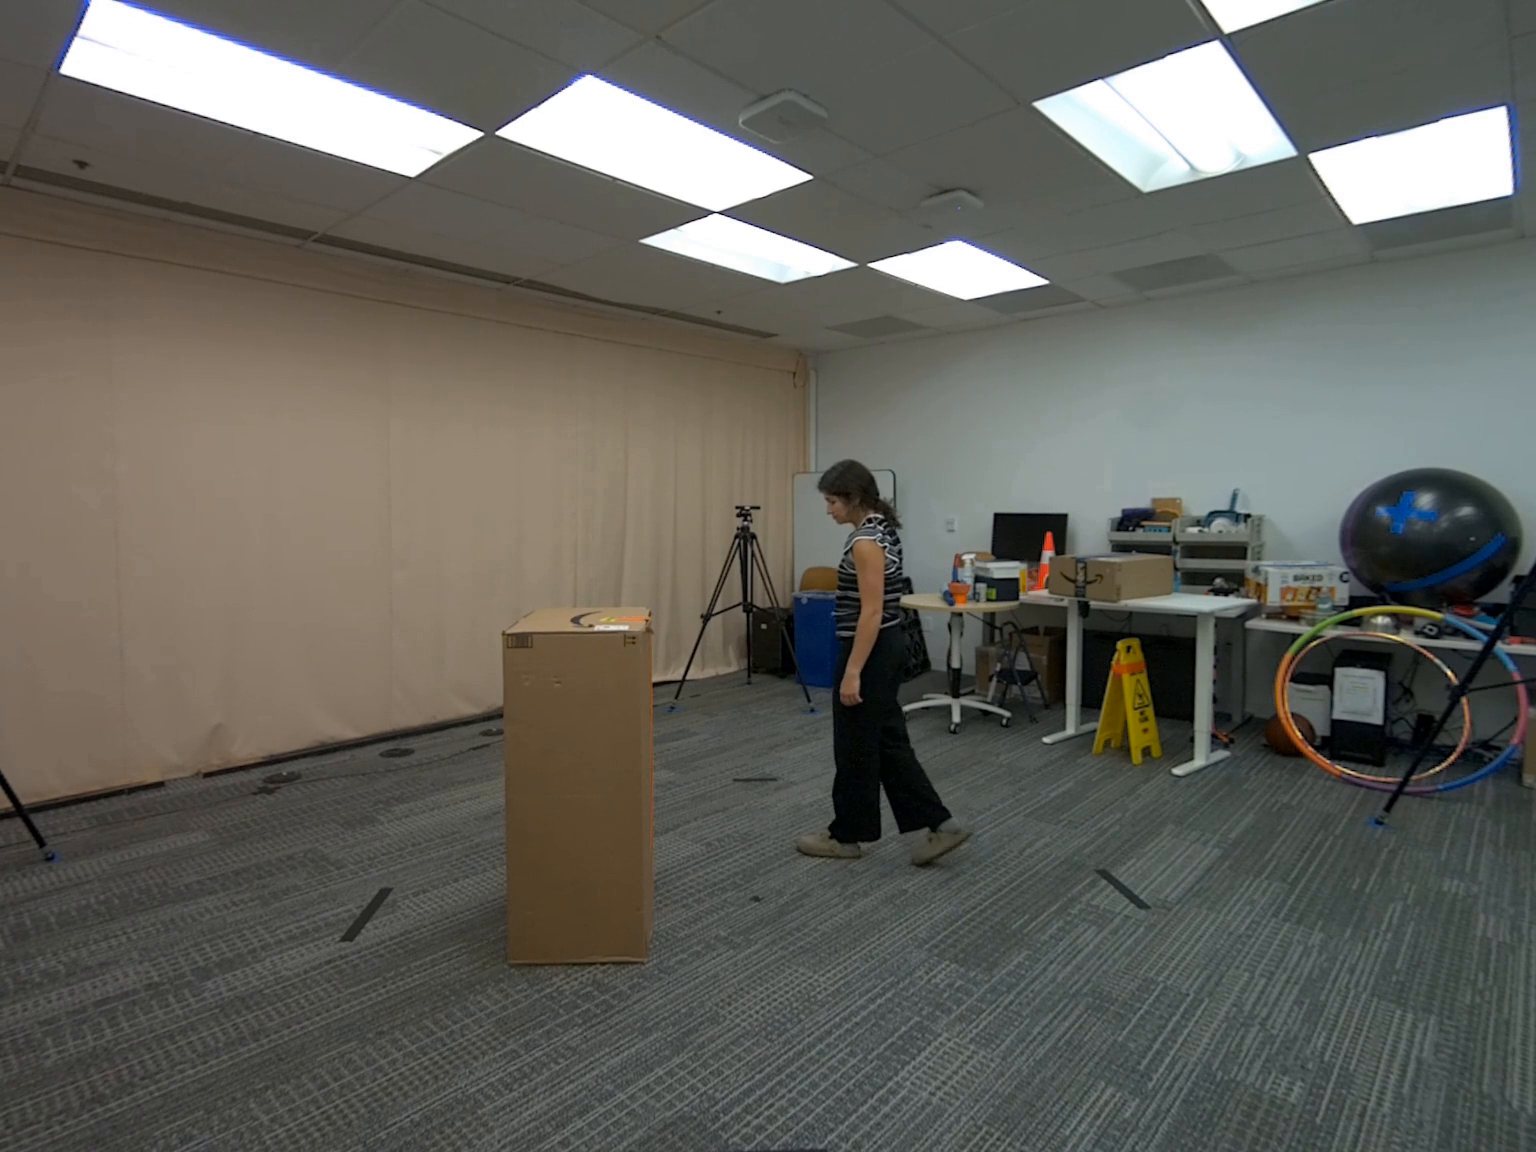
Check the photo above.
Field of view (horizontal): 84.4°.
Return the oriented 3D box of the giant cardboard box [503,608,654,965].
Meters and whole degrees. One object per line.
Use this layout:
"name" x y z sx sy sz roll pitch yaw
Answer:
"giant cardboard box" -0.611 0.652 2.822 0.425 1.024 0.580 0 3 -3
